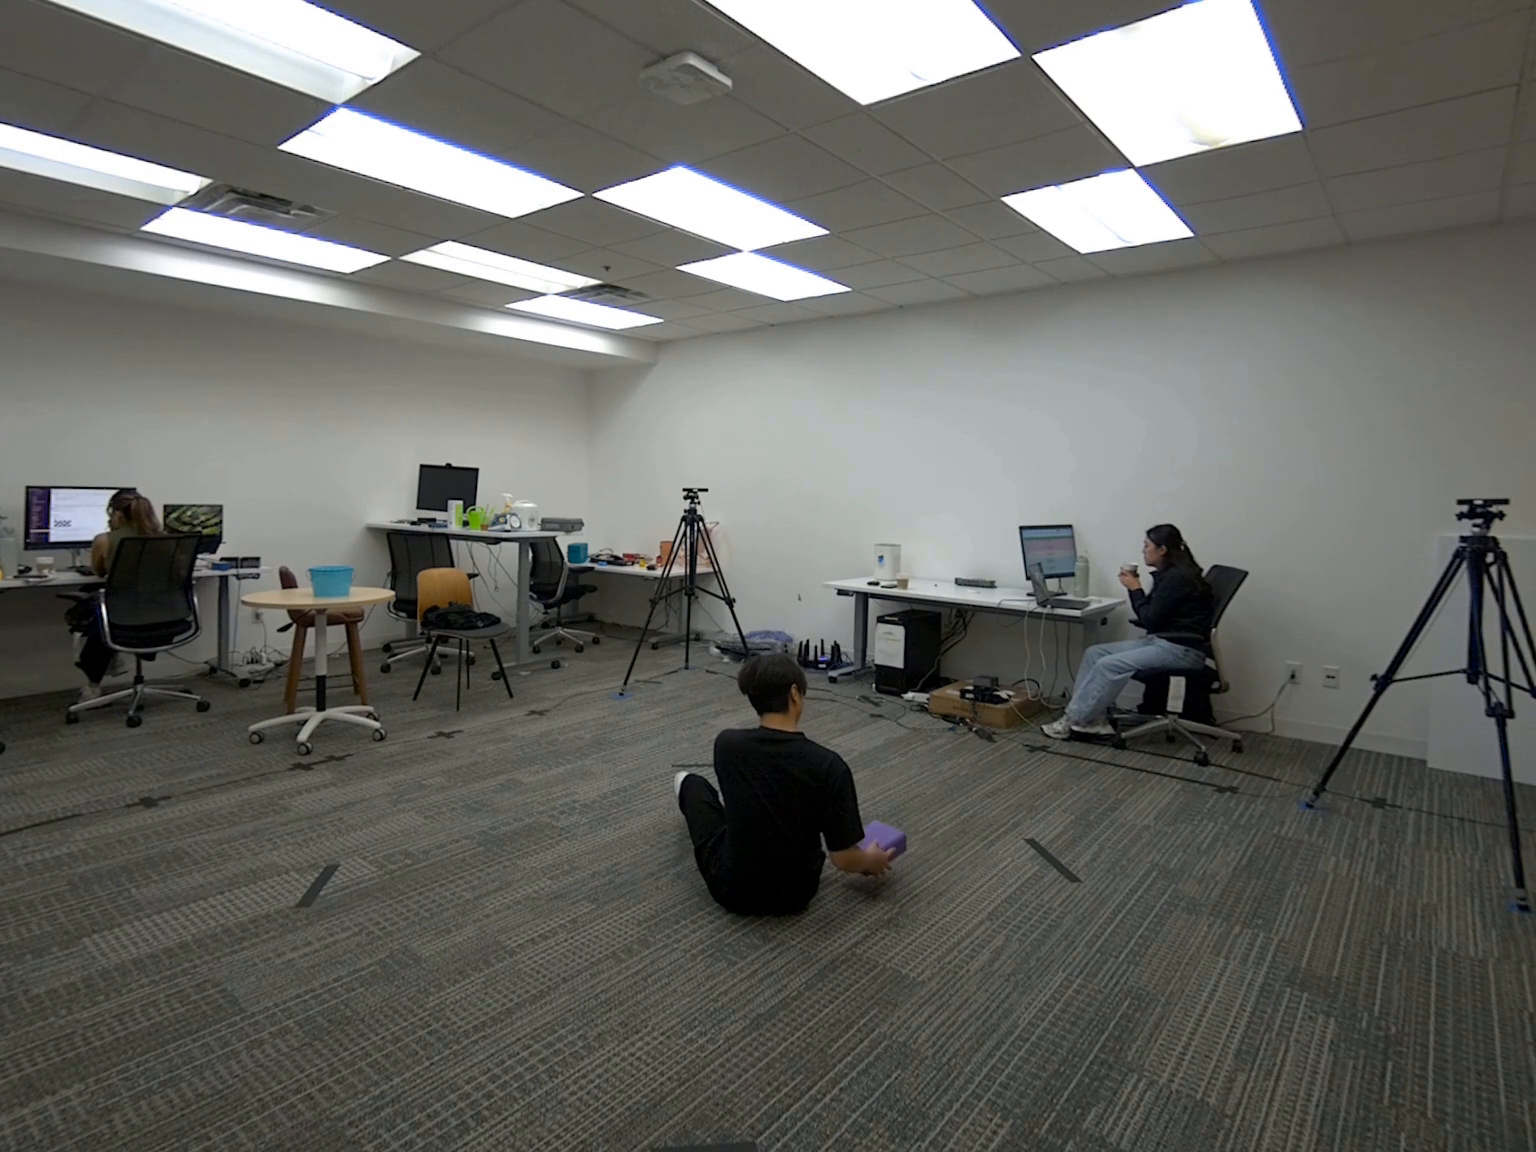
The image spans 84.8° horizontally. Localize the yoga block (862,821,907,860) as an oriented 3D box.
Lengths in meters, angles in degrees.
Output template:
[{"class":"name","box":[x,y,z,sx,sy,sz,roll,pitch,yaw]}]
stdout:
[{"class":"yoga block","box":[0.363,0.961,3.028,0.154,0.075,0.224,8,18,44]}]
